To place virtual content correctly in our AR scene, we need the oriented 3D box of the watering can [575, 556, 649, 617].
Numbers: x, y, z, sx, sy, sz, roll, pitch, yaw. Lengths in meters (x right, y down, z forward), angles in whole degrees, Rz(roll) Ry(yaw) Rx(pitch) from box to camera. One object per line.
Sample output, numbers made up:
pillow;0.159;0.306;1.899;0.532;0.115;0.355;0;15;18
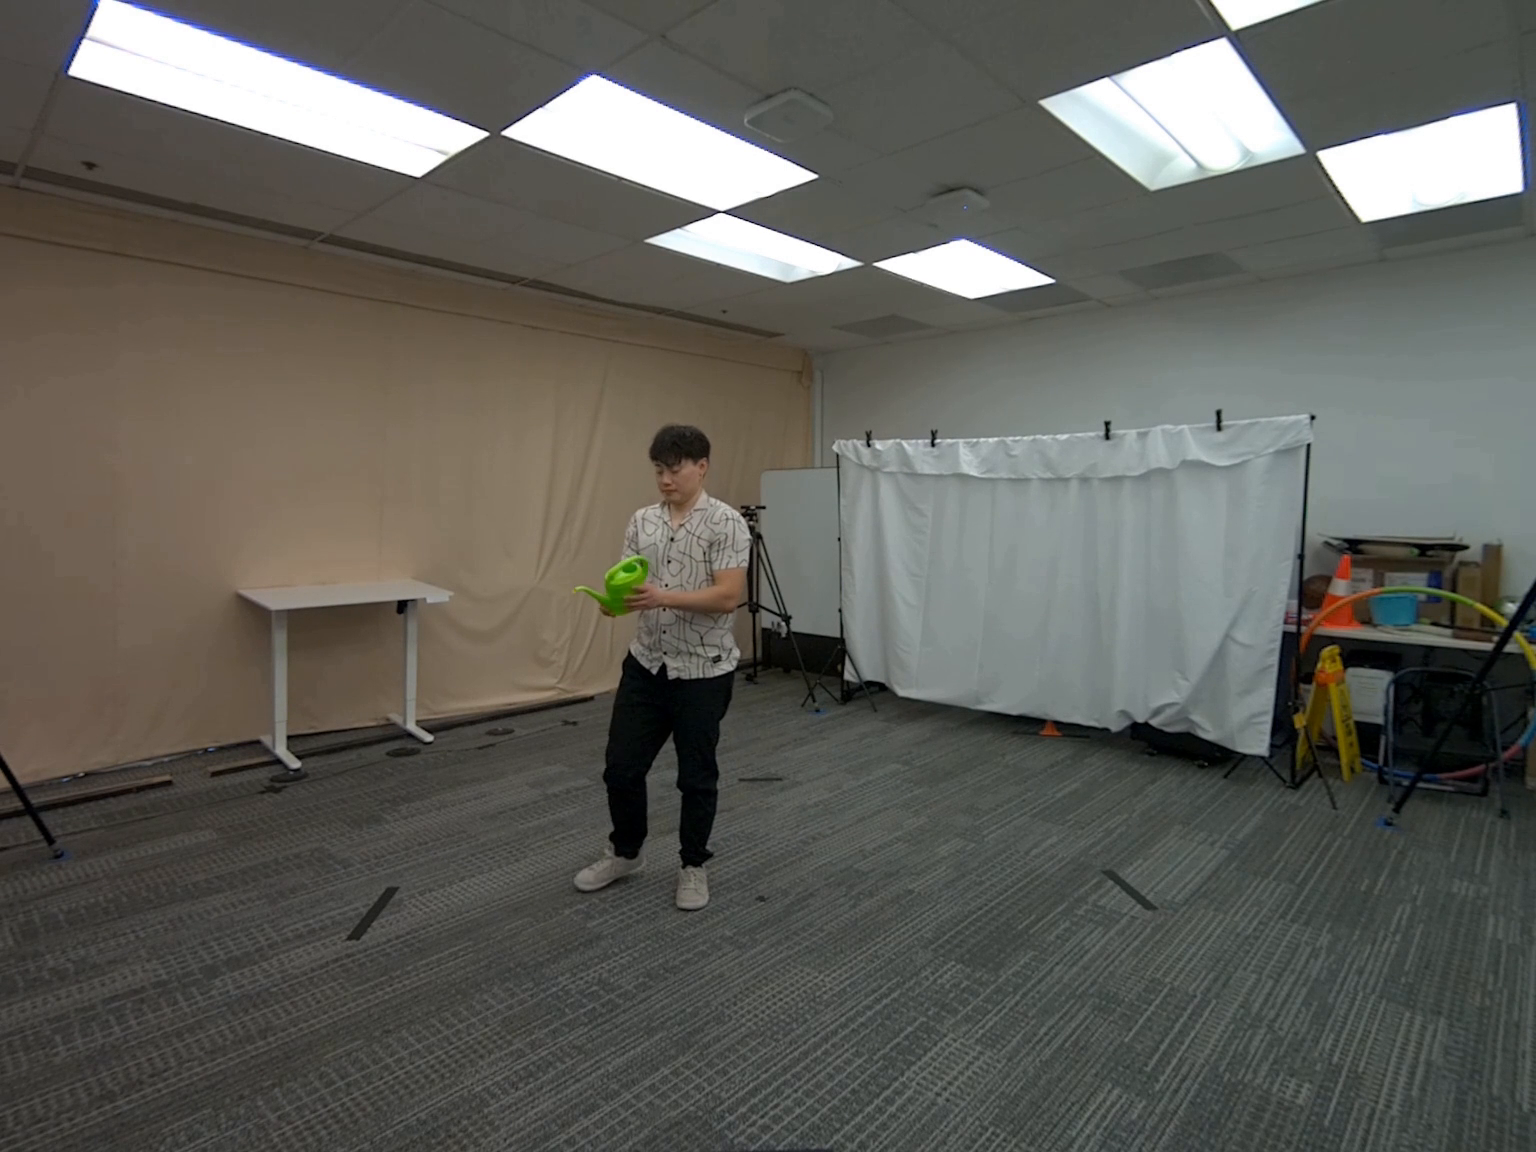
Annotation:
watering can;-0.484;0.037;2.645;0.273;0.173;0.101;-22;46;-24
